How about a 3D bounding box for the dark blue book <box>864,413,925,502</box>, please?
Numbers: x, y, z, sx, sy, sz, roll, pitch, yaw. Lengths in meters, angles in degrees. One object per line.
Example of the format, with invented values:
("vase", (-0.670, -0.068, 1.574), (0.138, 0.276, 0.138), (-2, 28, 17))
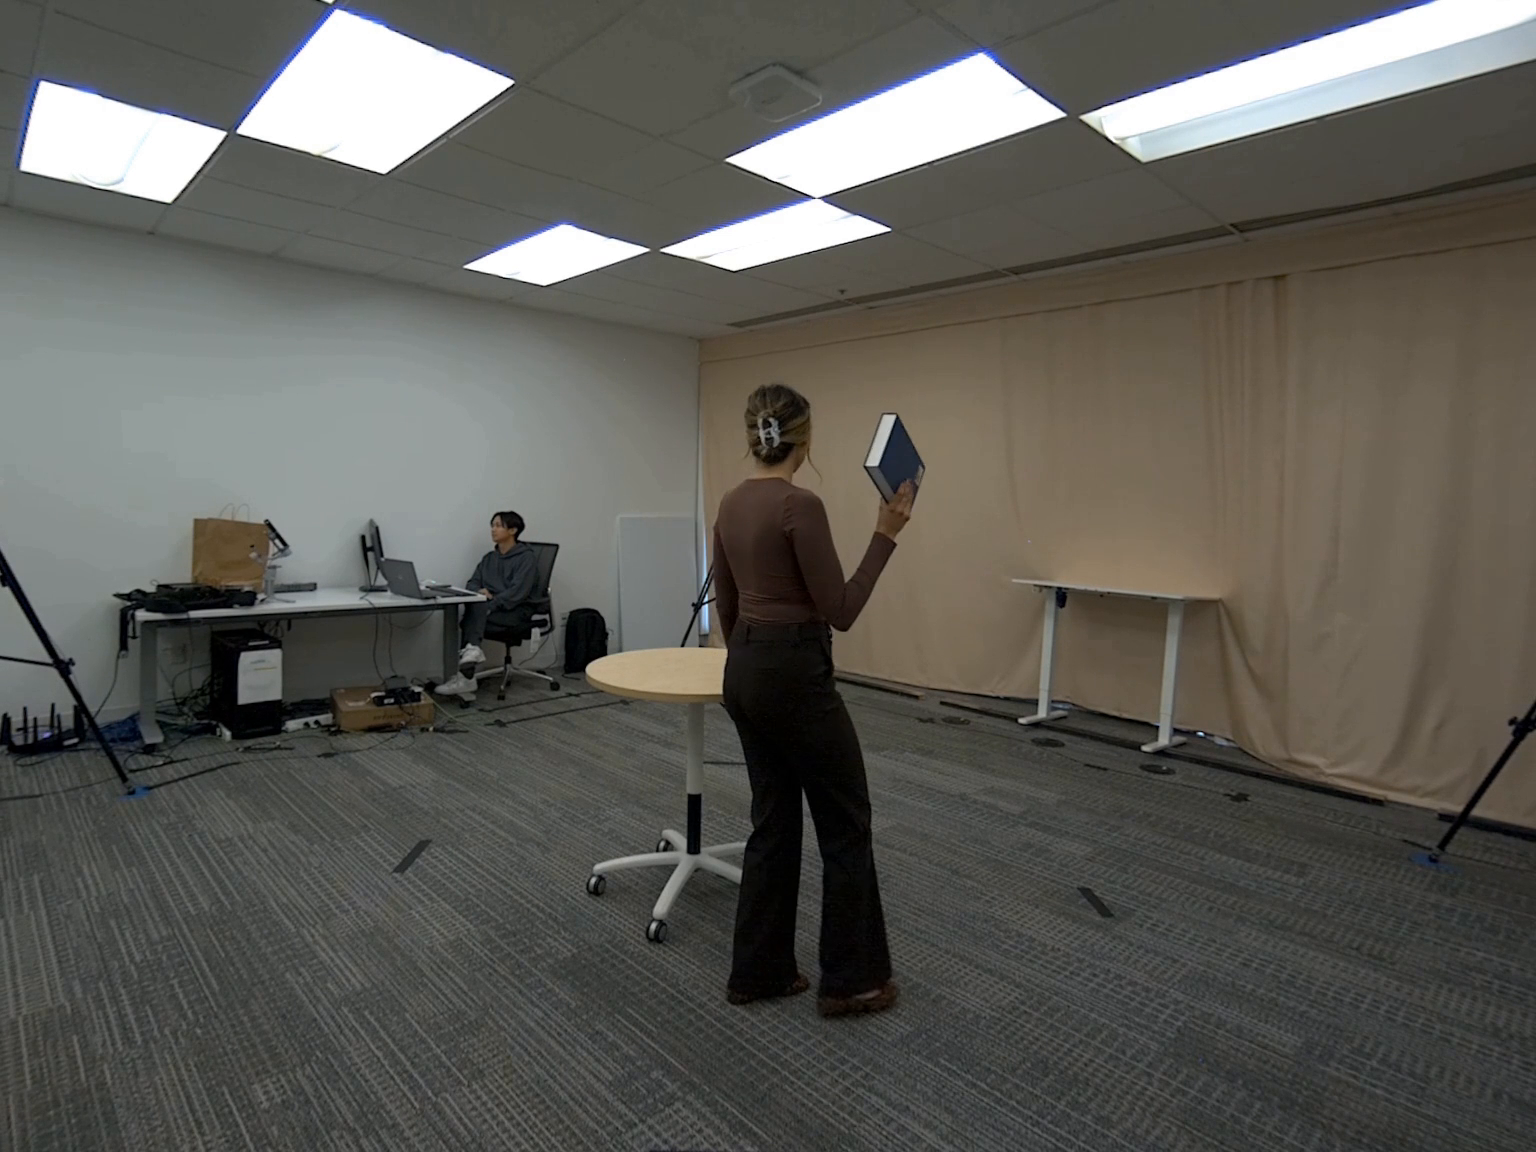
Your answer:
("dark blue book", (0.326, -0.283, 2.162), (0.046, 0.165, 0.237), (7, -25, 32))
